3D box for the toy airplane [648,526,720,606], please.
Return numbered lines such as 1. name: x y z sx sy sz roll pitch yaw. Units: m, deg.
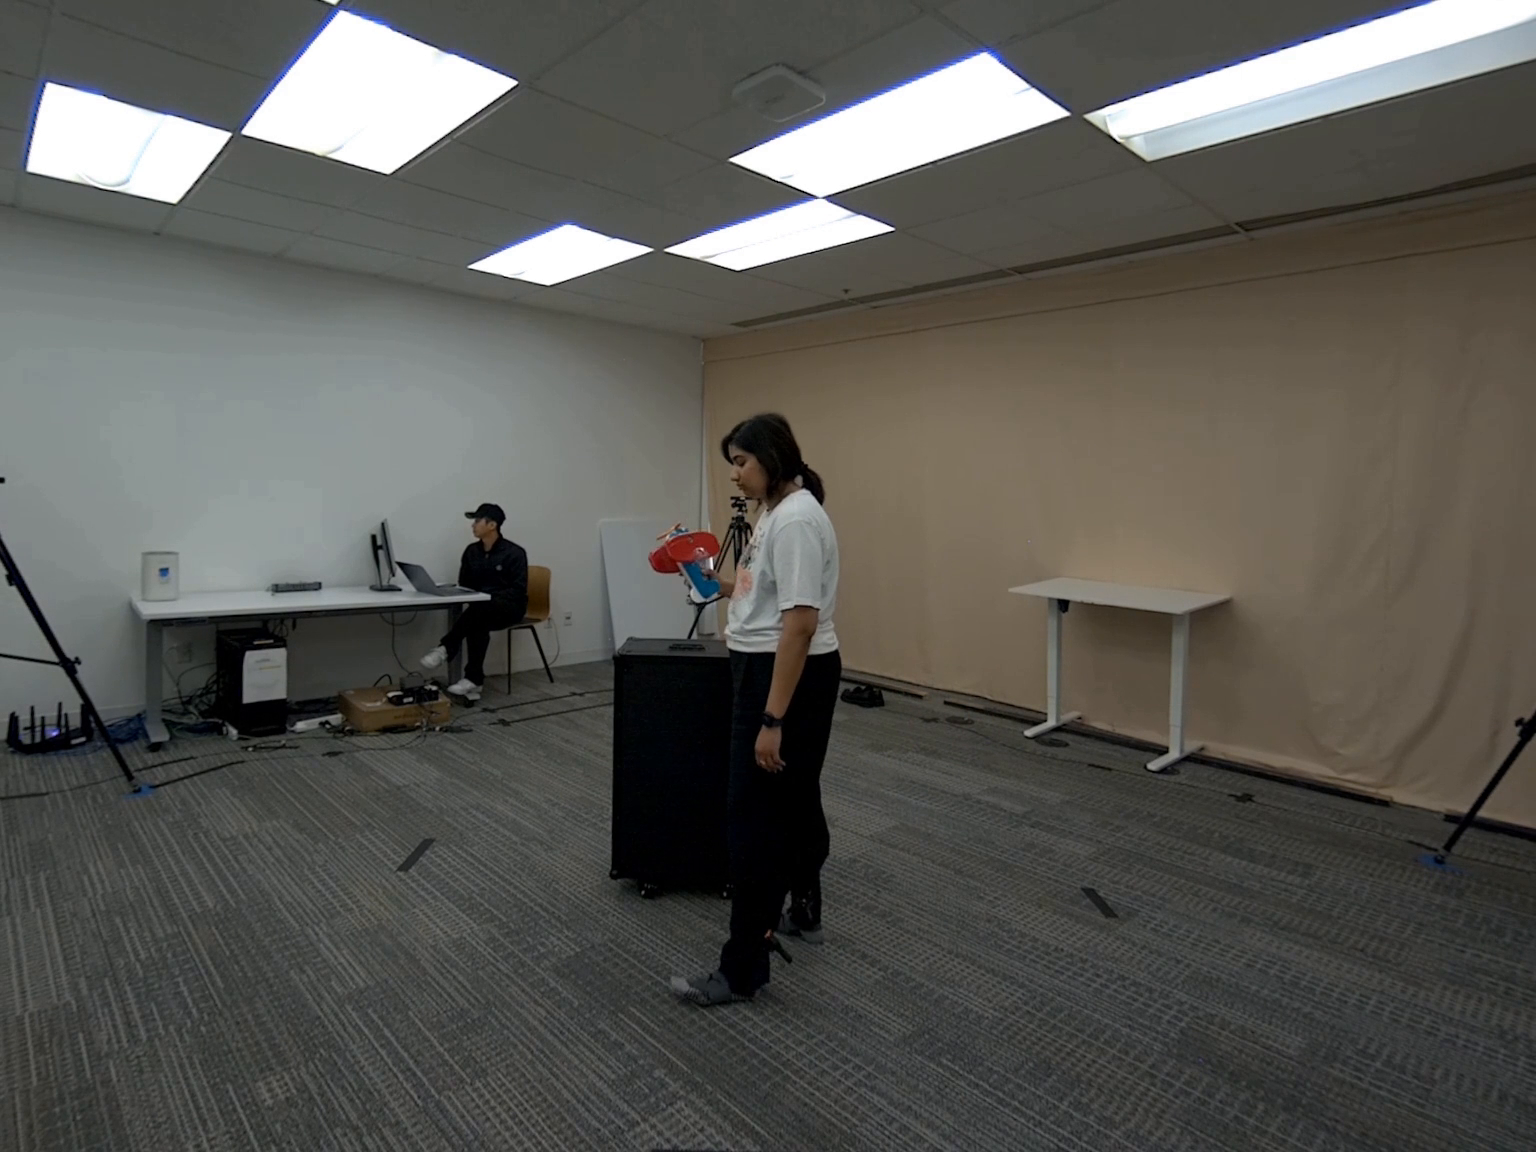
1. toy airplane: -0.253 -0.038 2.717 0.258 0.156 0.252 37 32 -3
